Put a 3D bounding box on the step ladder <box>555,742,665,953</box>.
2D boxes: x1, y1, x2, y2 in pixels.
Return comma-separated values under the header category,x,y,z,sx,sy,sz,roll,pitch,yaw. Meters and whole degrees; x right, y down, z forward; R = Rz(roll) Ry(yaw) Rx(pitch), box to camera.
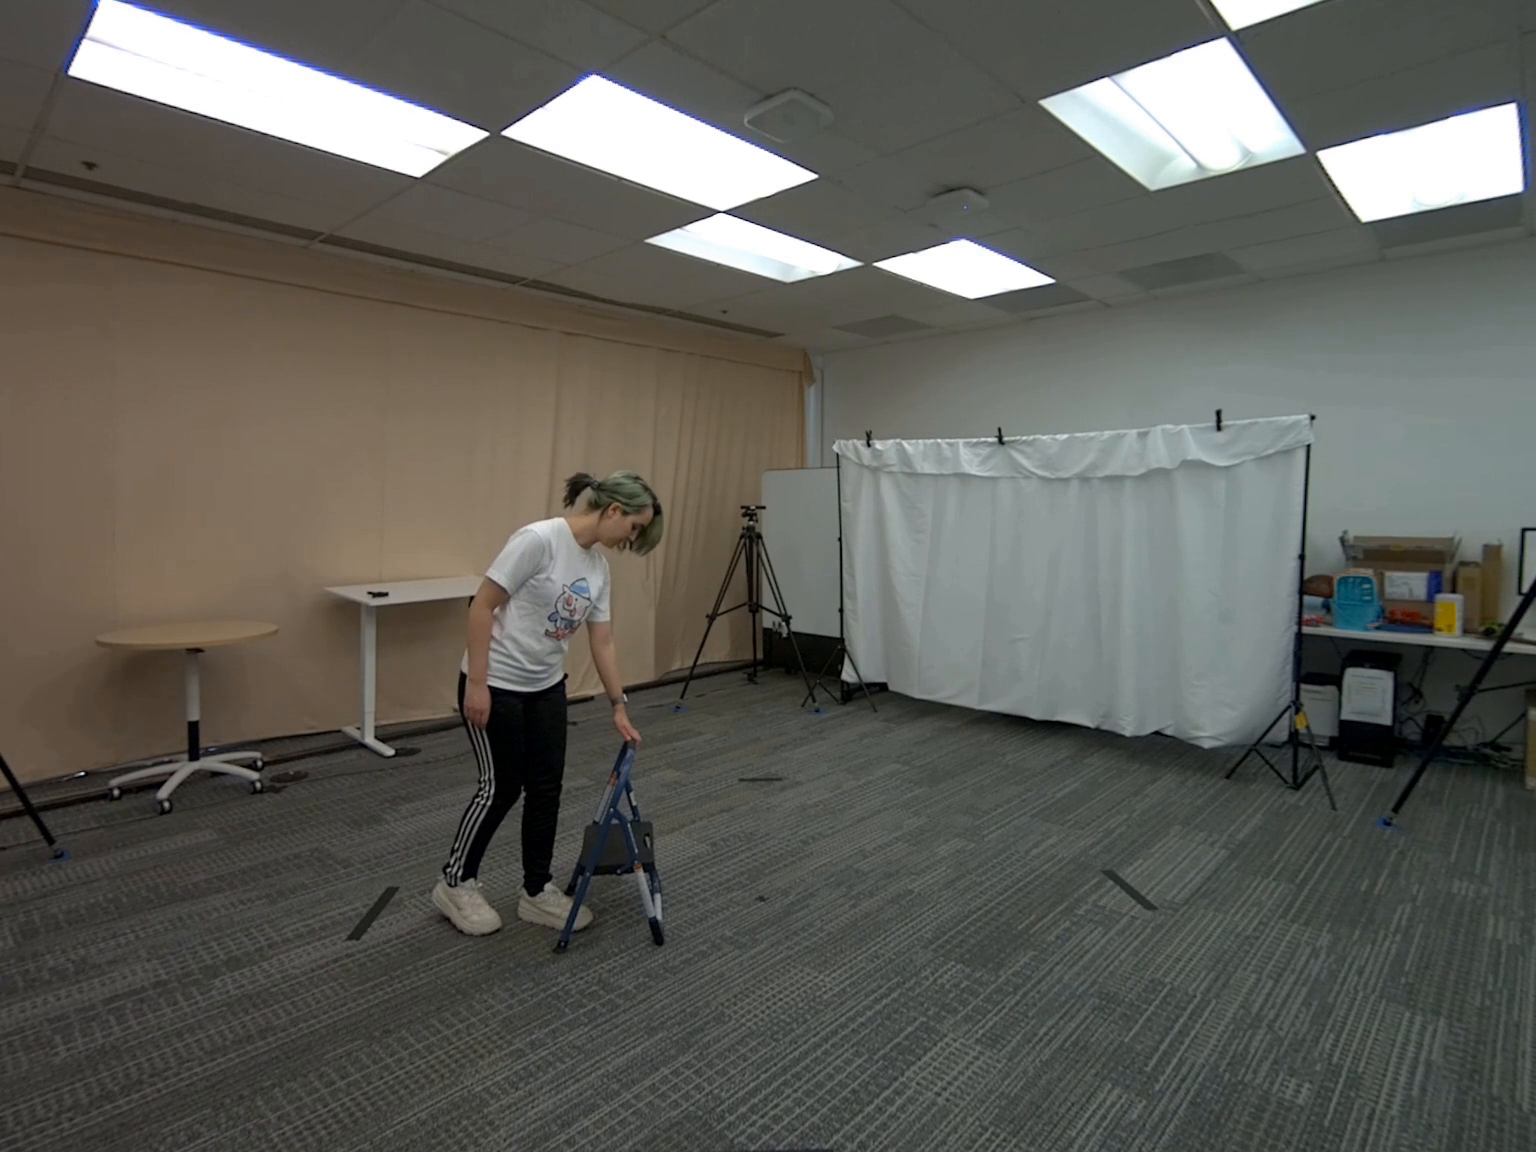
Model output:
category,x,y,z,sx,sy,sz,roll,pitch,yaw
step ladder,-0.533,0.862,2.836,0.346,0.605,0.435,-1,4,-8
